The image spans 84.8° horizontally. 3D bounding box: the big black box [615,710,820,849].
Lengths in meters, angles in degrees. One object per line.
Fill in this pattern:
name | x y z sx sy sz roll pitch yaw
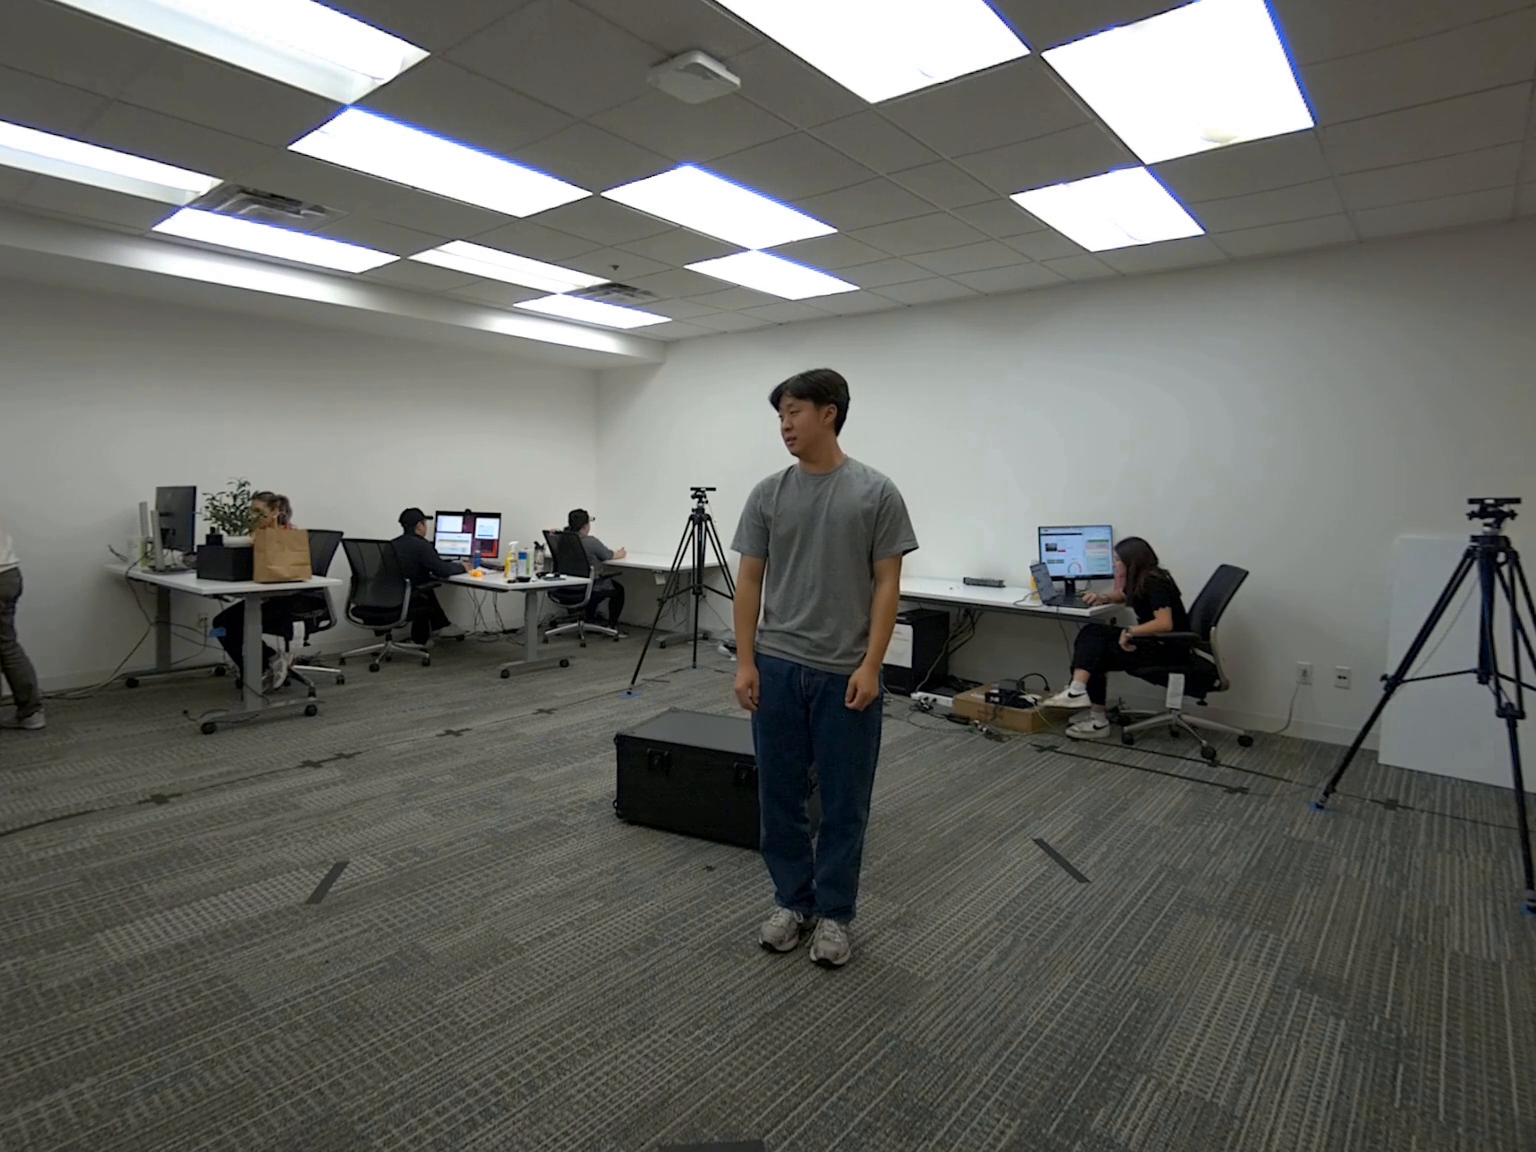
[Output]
big black box | -0.218 0.831 3.574 0.883 0.394 0.510 4 6 24
